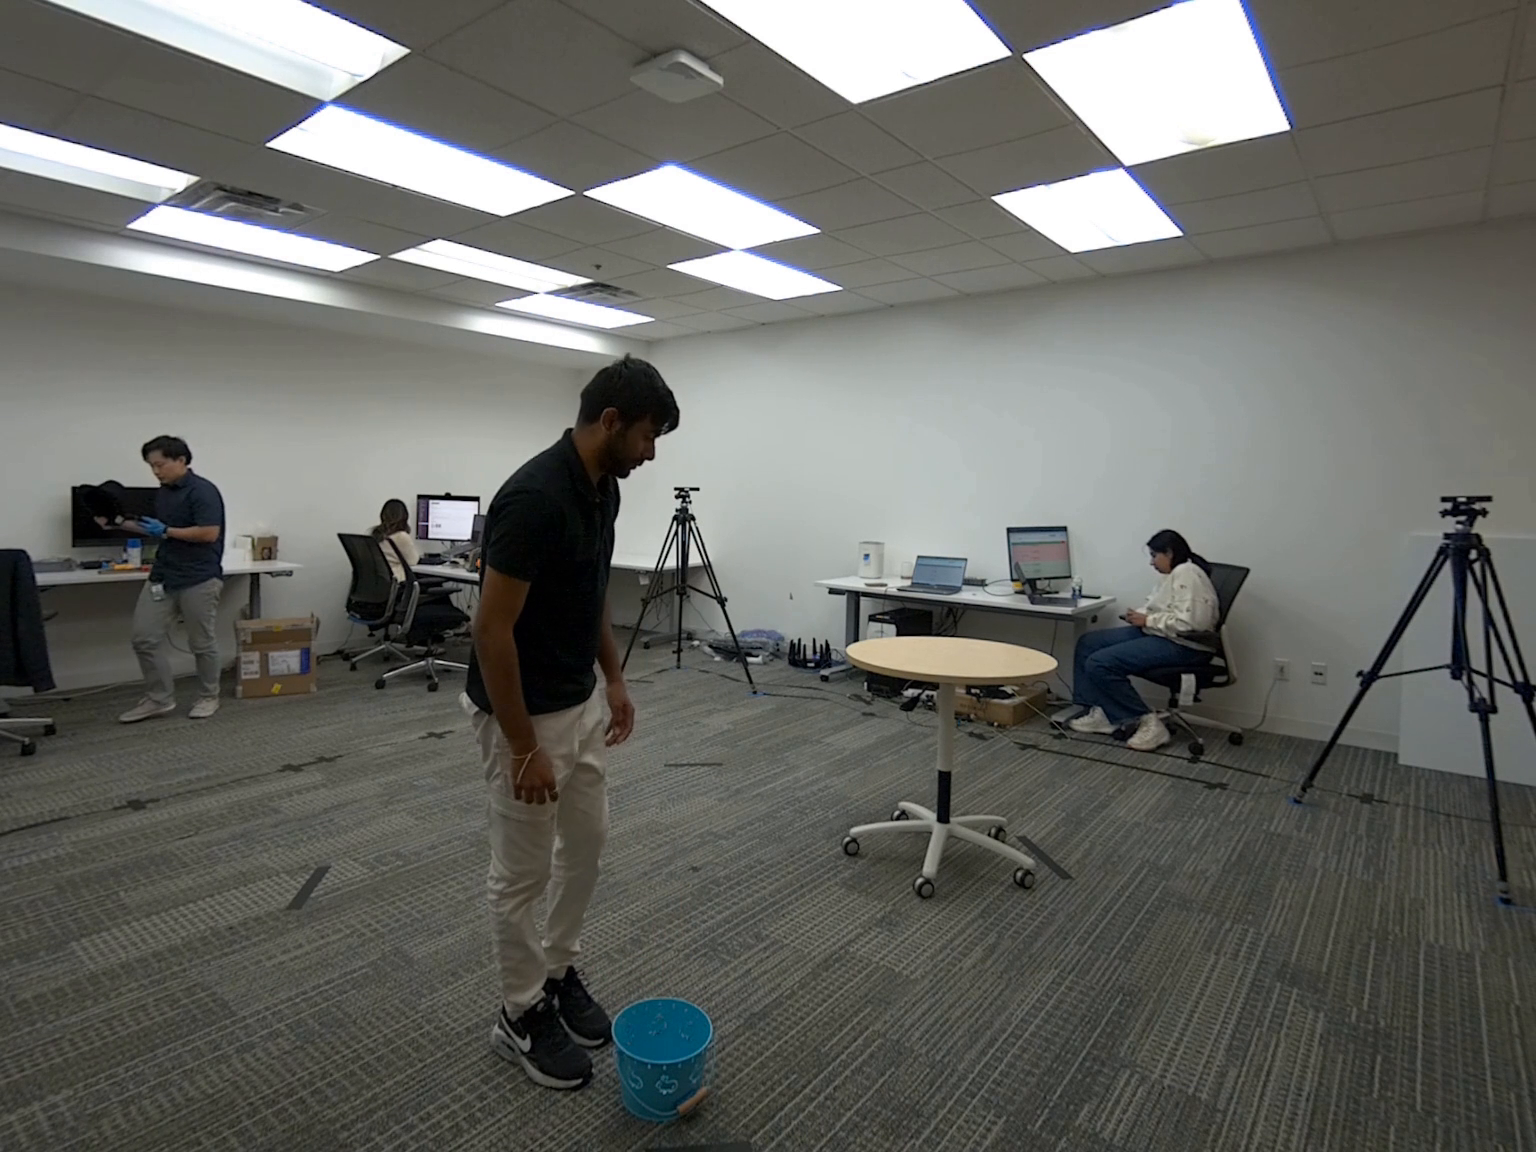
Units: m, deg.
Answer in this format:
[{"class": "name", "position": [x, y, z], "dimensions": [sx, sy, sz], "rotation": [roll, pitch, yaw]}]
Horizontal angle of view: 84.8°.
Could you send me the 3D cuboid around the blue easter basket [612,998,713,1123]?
[{"class": "blue easter basket", "position": [-0.251, 1.104, 1.951], "dimensions": [0.243, 0.155, 0.245], "rotation": [1, 5, -2]}]
